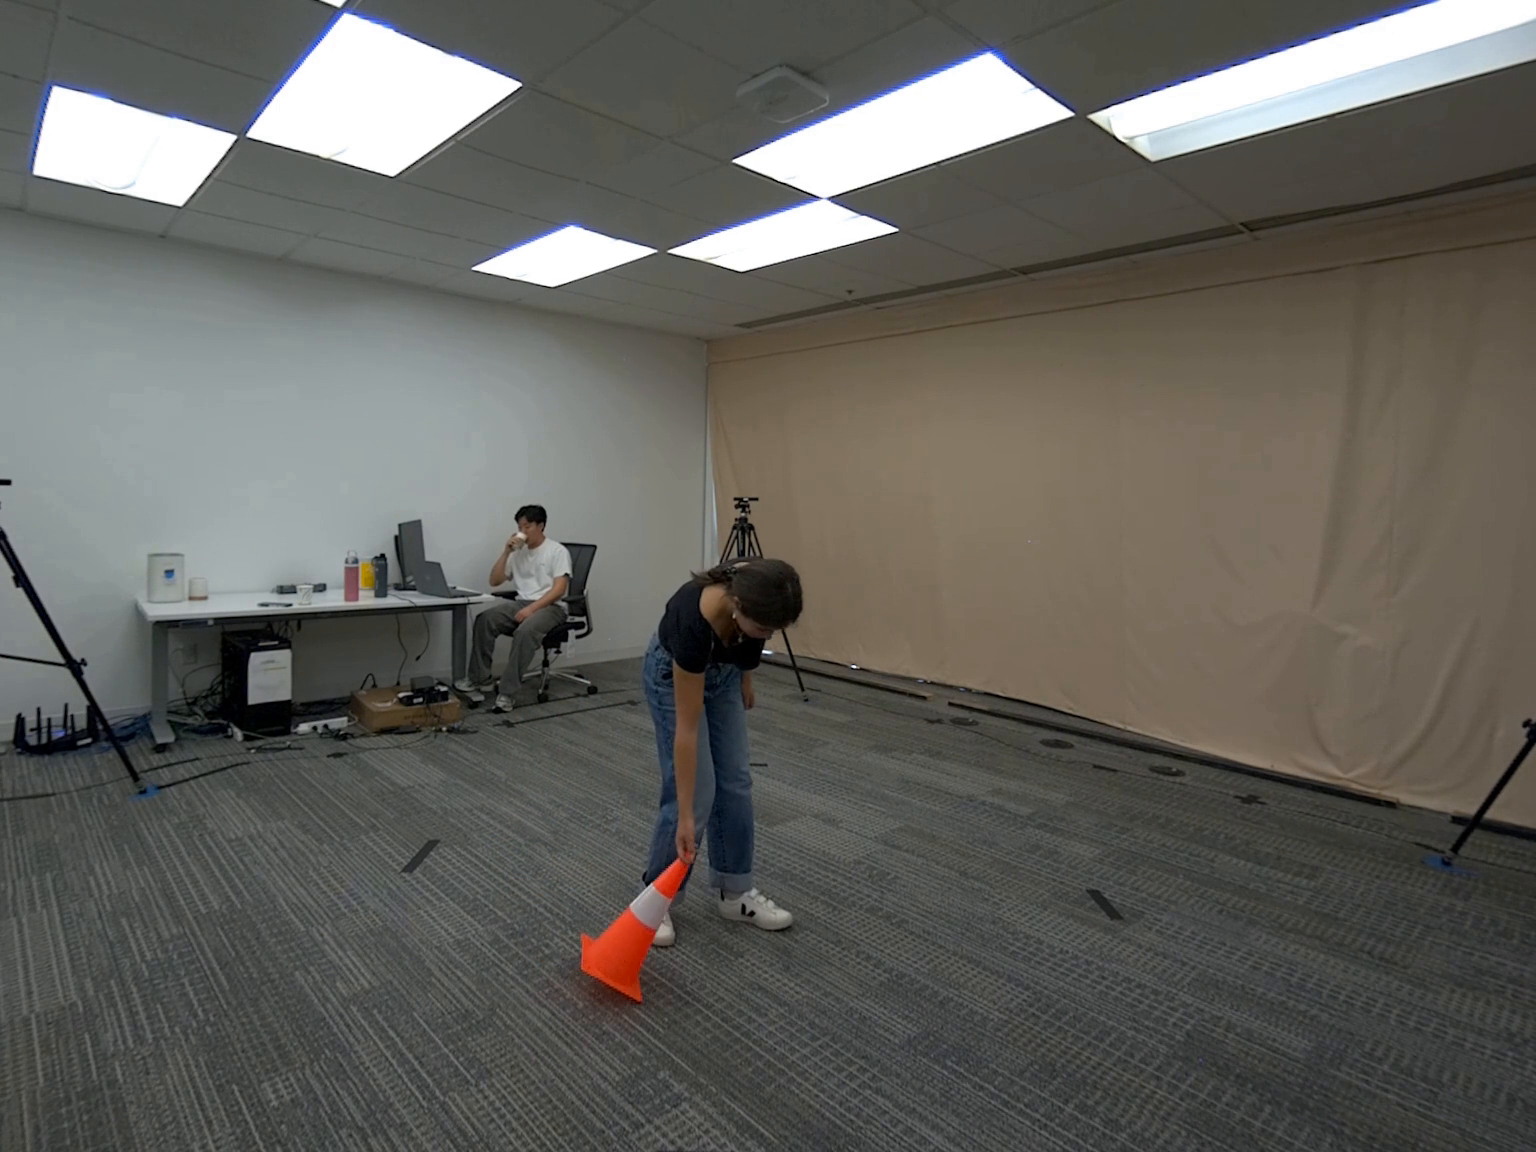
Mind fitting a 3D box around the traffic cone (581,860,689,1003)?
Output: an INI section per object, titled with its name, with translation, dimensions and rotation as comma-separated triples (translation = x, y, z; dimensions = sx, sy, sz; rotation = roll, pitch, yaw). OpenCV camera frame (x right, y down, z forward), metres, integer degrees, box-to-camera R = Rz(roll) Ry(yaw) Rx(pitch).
[traffic cone]
translation = -0.346, 0.963, 2.383
dimensions = 0.204, 0.384, 0.204
rotation = 33, -3, -7
